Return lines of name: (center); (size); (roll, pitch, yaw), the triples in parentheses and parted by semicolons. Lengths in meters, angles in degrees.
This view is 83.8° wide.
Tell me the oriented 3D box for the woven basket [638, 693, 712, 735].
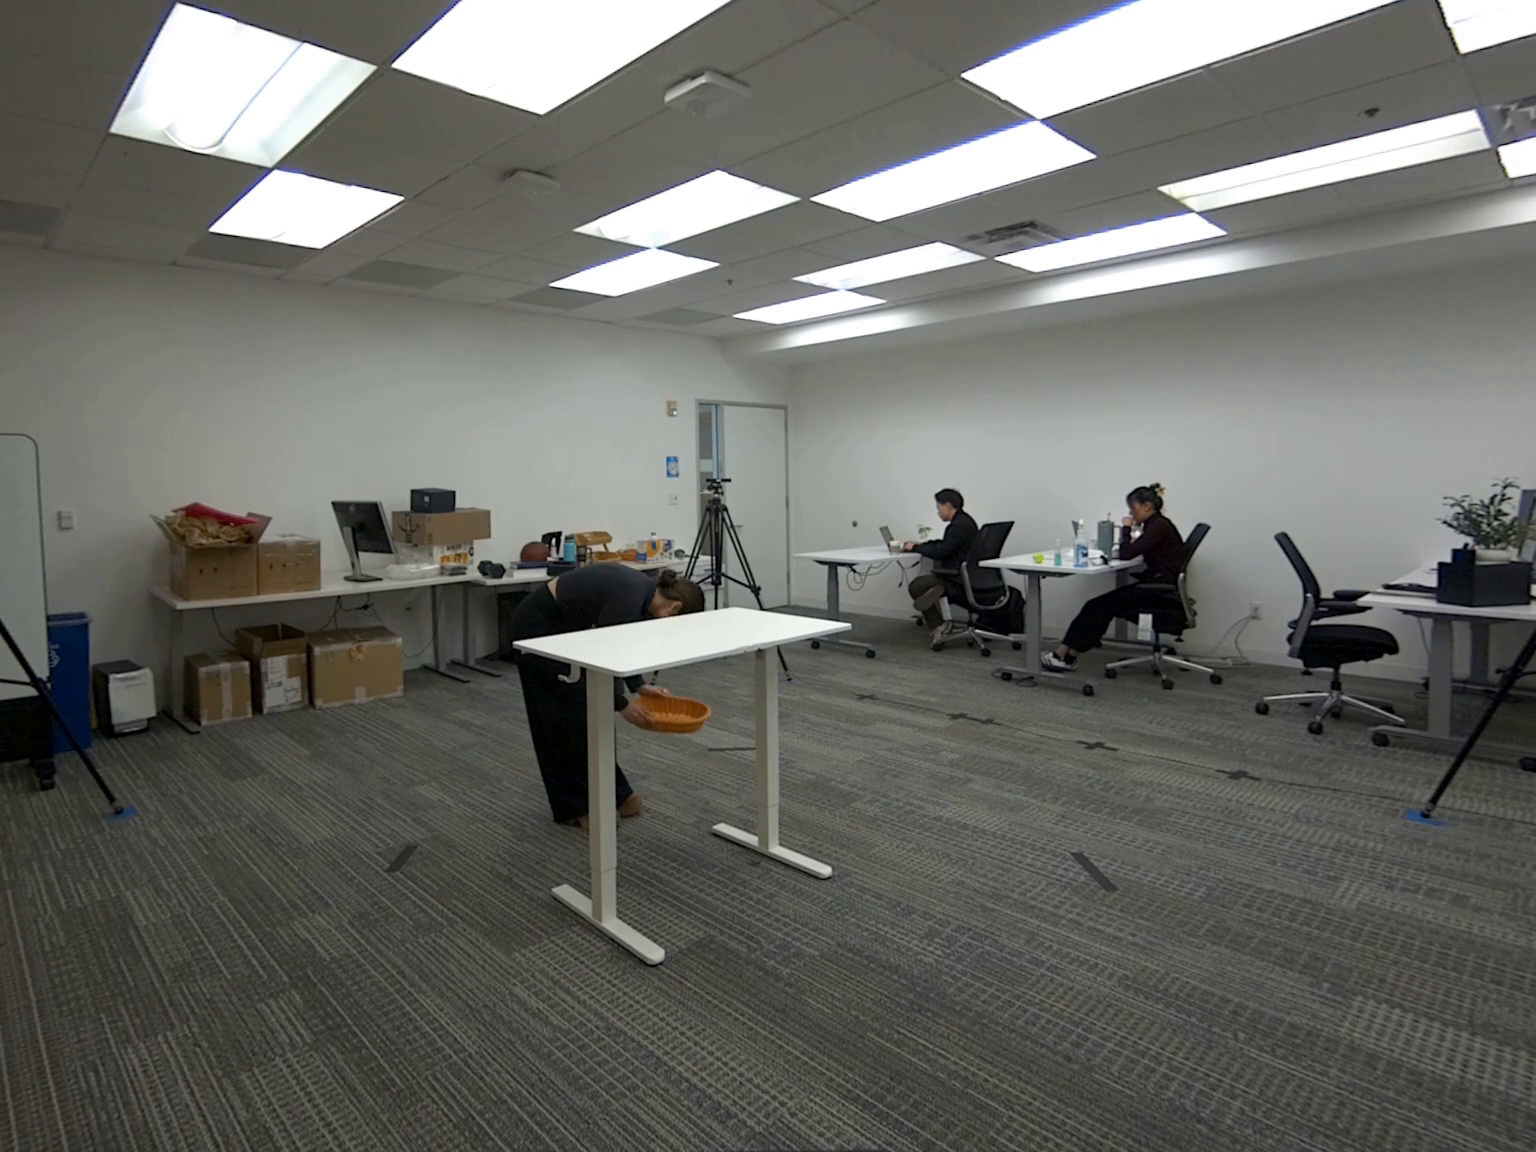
woven basket: (-0.412, 0.572, 3.500); (0.354, 0.073, 0.252); (5, 13, 9)
